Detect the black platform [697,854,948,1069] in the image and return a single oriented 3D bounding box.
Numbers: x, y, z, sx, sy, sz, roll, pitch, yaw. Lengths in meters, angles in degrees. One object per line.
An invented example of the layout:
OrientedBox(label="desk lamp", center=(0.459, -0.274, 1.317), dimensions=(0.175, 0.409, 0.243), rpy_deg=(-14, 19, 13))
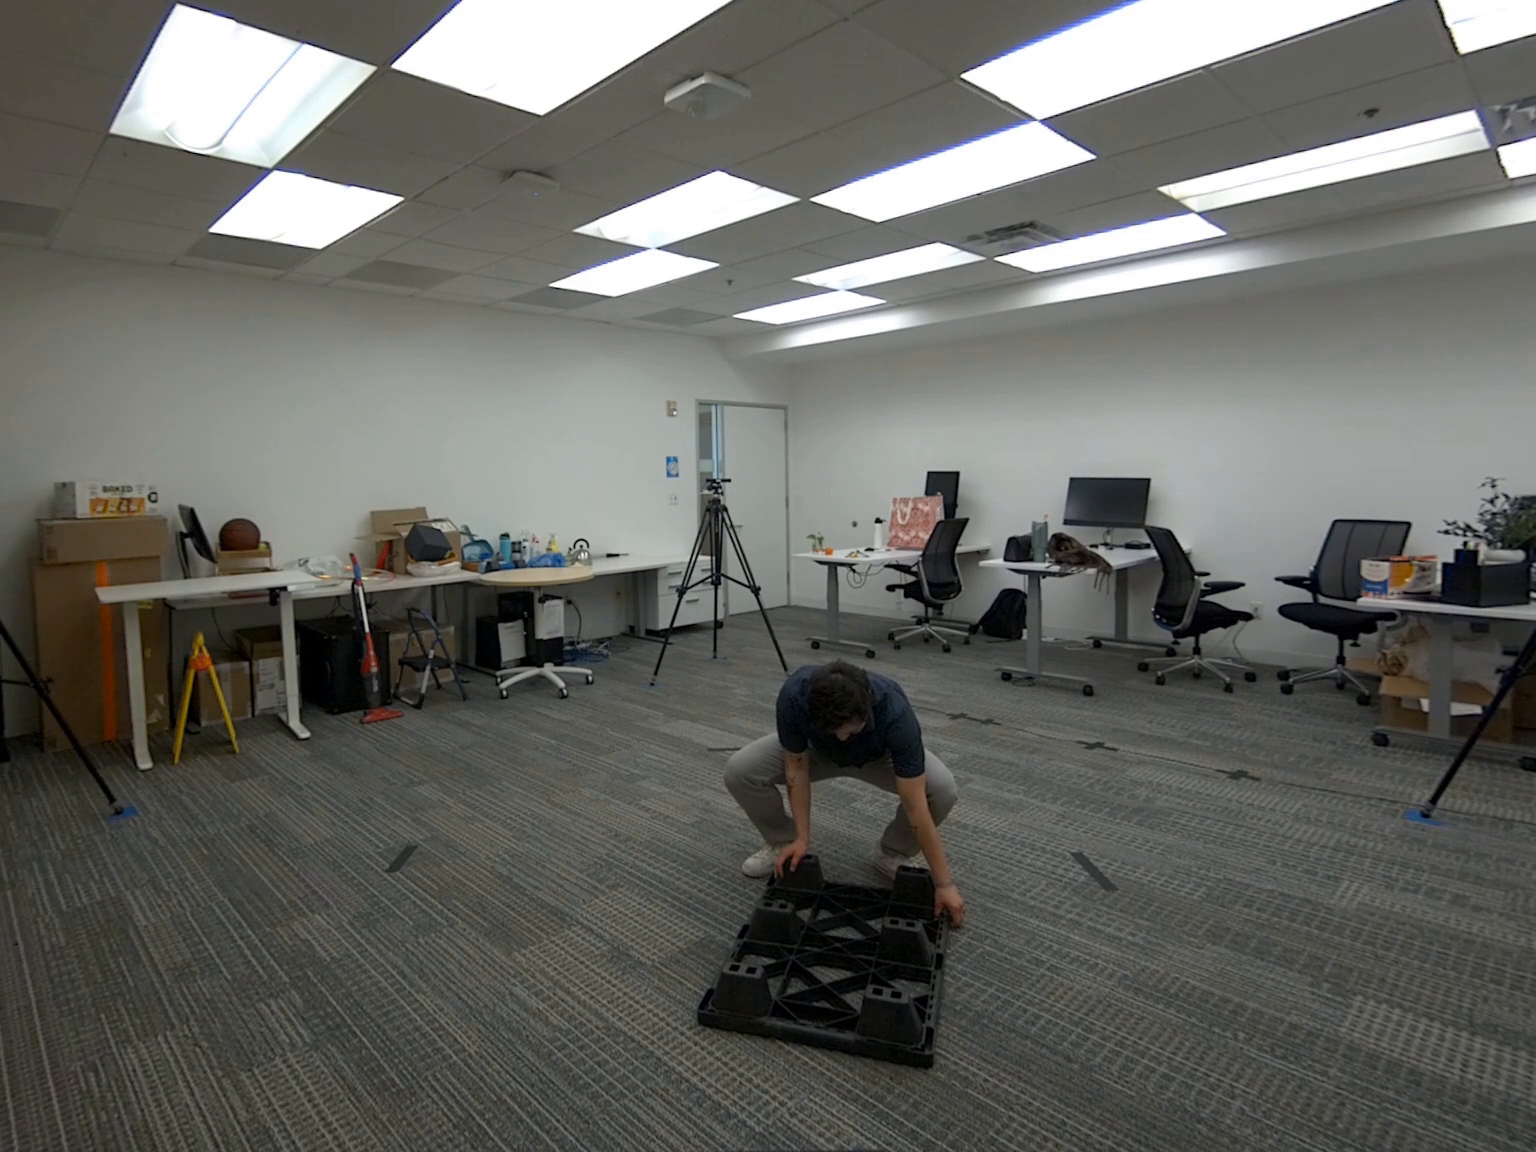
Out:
OrientedBox(label="black platform", center=(0.210, 1.053, 2.469), dimensions=(0.615, 0.142, 0.796), rpy_deg=(1, 7, 16))
